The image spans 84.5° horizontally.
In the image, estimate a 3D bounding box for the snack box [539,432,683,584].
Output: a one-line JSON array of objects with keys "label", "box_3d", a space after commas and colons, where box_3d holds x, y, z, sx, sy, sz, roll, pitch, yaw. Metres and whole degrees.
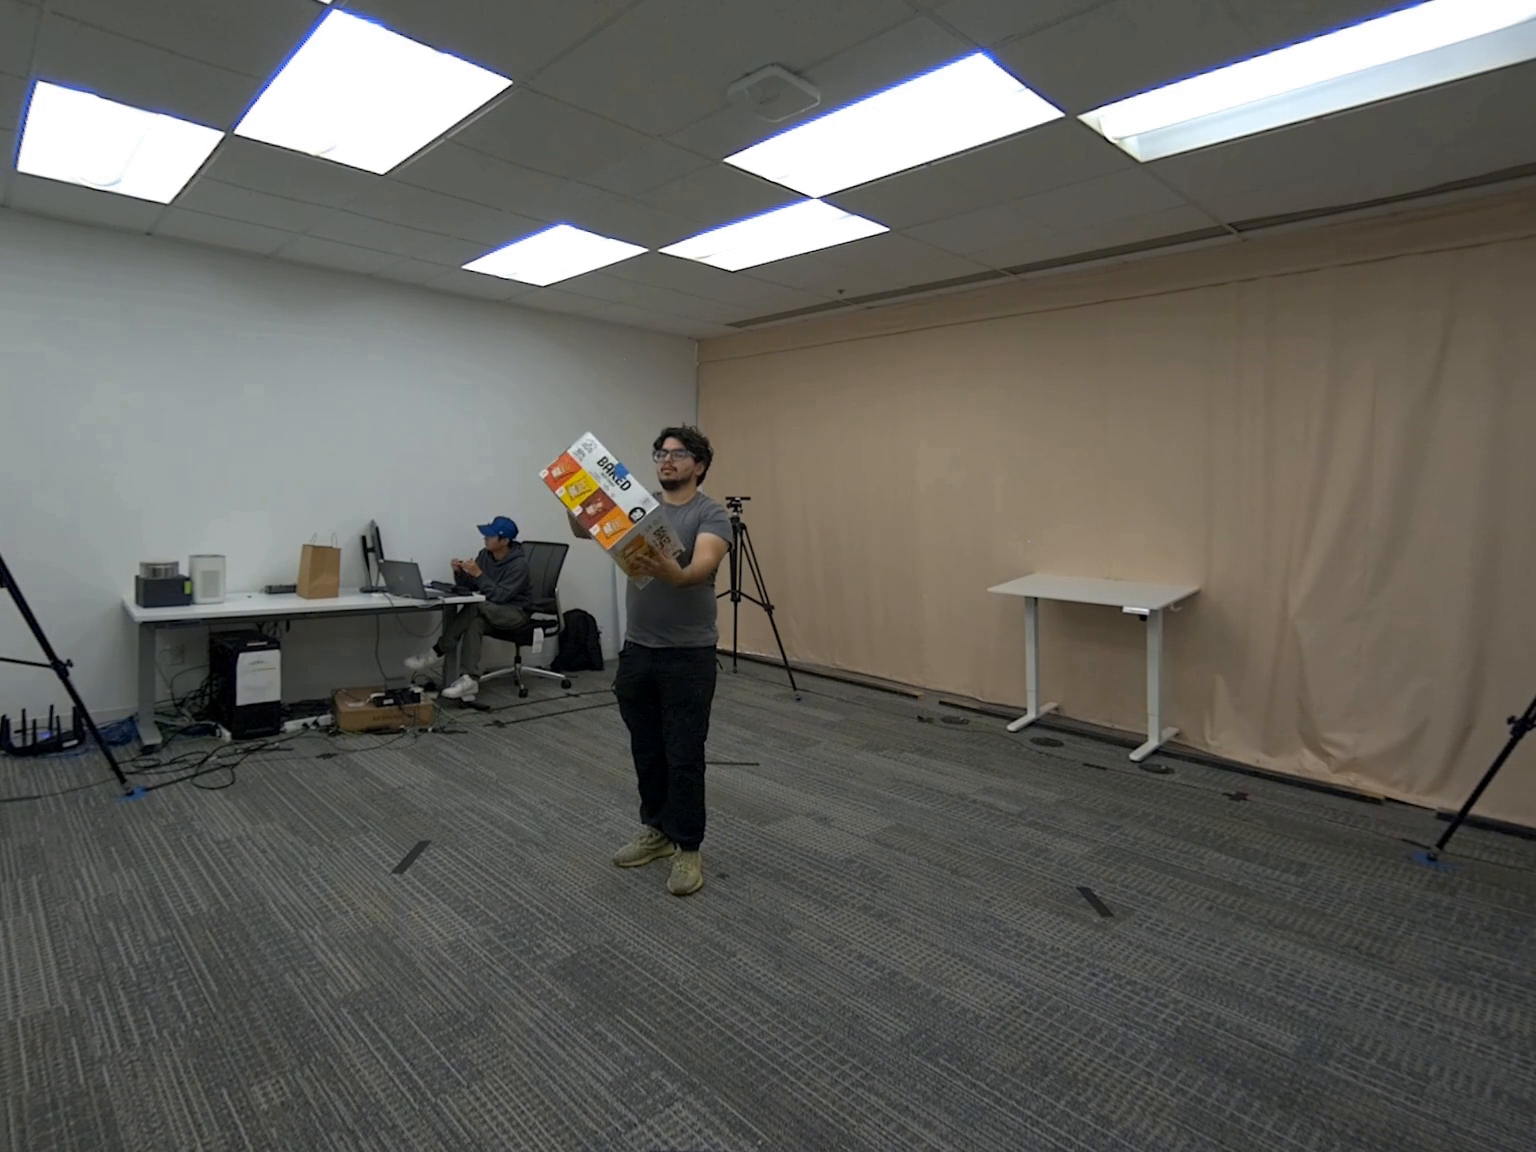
[{"label": "snack box", "box_3d": [-0.490, -0.193, 2.633, 0.347, 0.205, 0.397, 46, -8, 18]}]
